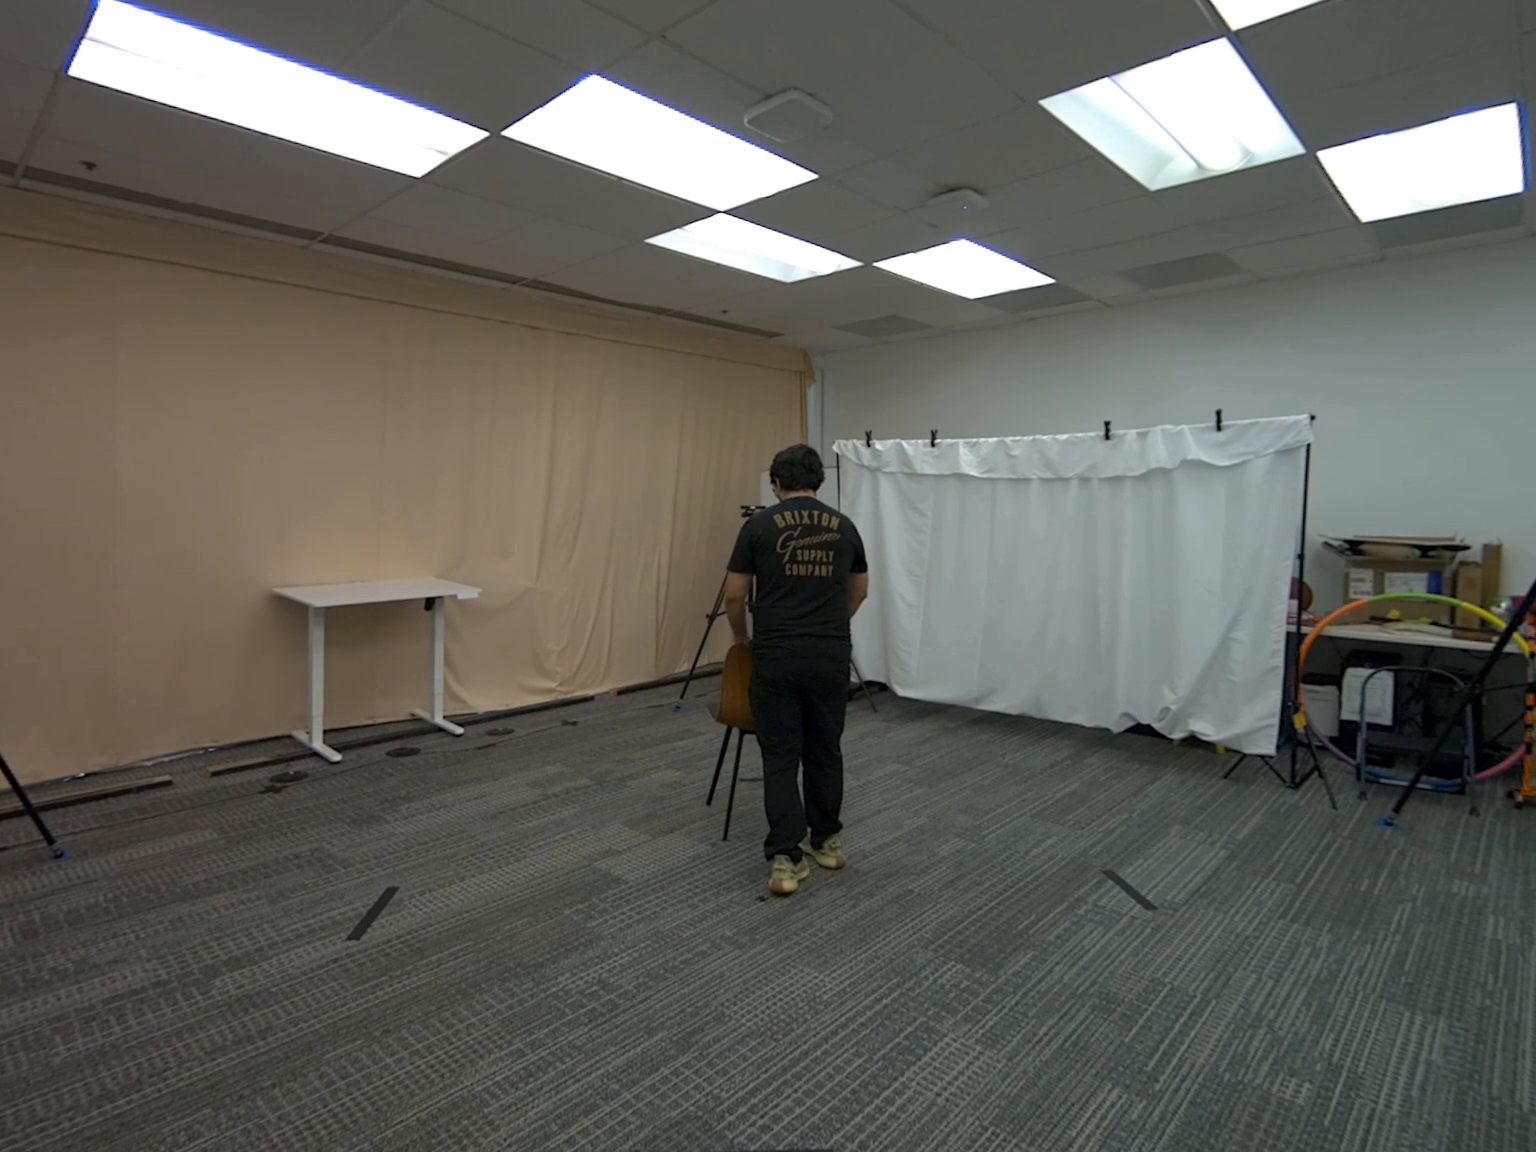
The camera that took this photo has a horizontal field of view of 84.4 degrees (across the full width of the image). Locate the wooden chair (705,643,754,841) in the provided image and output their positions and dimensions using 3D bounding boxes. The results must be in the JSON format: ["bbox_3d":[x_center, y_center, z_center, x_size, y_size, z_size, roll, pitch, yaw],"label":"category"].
[{"bbox_3d":[-0.026,0.652,3.734,0.473,0.873,0.531,-2,7,-11],"label":"wooden chair"}]
